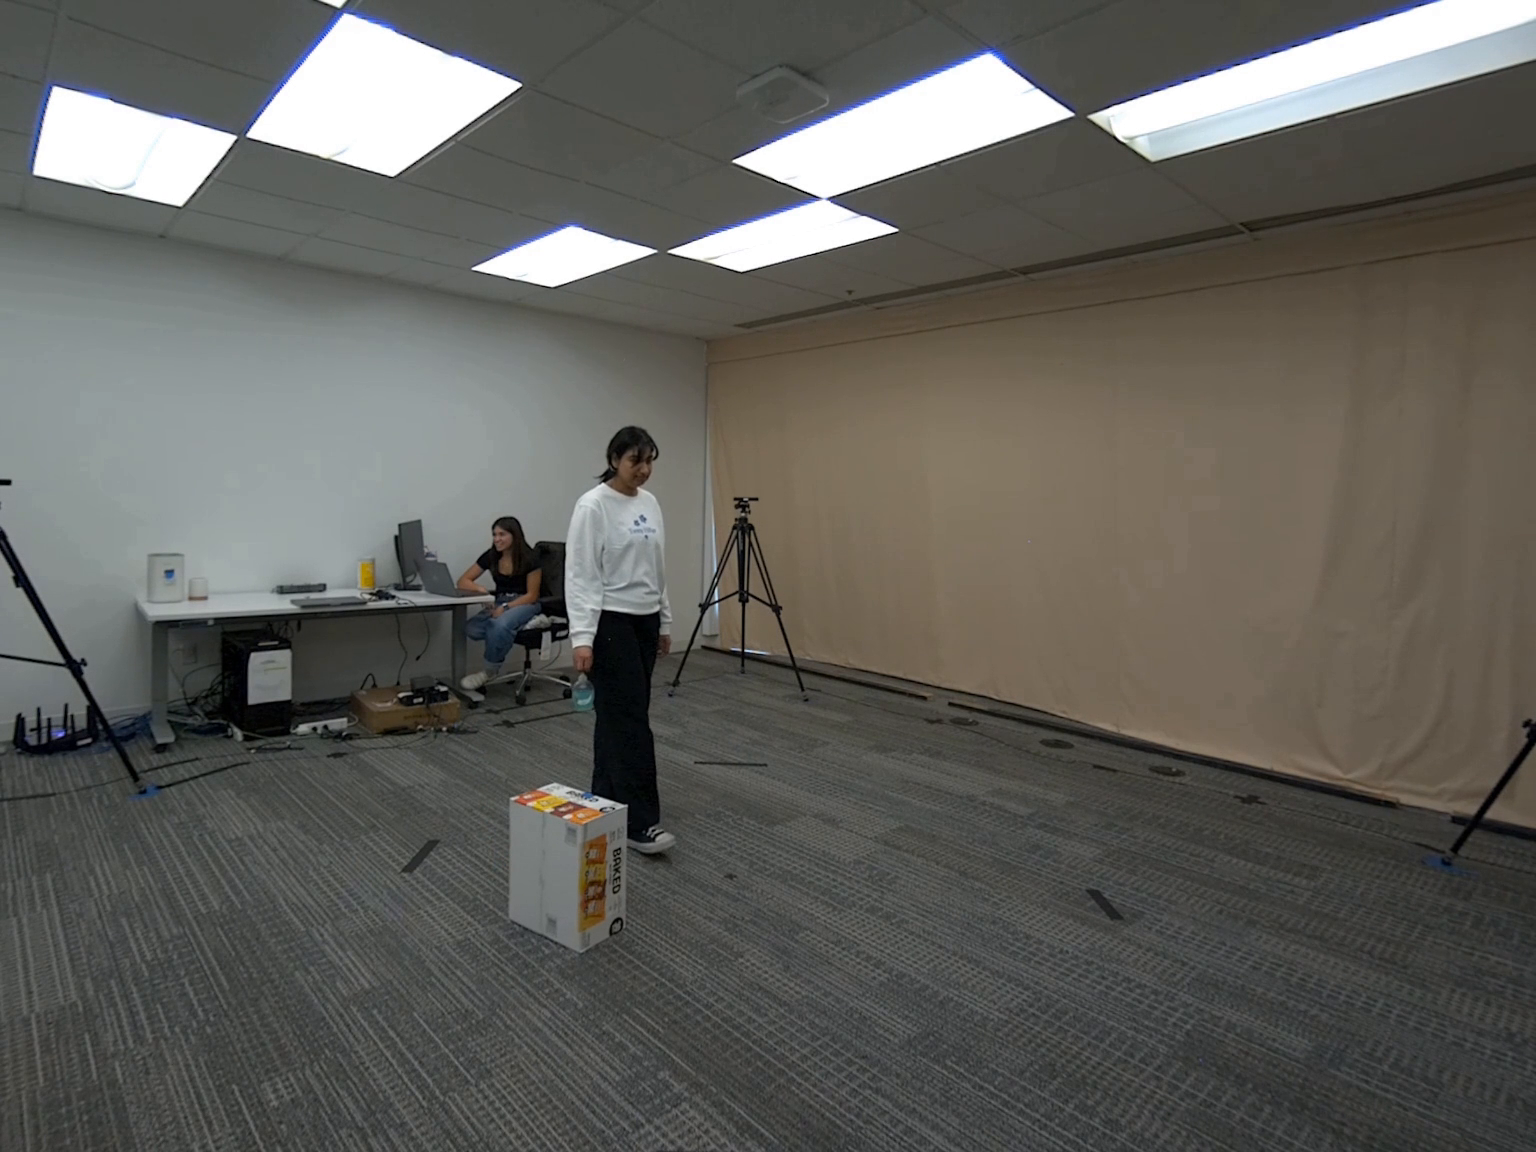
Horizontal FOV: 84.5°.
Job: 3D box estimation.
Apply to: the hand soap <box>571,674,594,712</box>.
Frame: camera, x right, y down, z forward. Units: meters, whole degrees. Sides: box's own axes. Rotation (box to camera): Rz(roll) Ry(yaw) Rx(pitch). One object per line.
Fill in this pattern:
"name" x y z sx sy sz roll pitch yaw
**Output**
"hand soap" -0.720 0.430 3.215 0.084 0.169 0.043 -6 -4 -13
